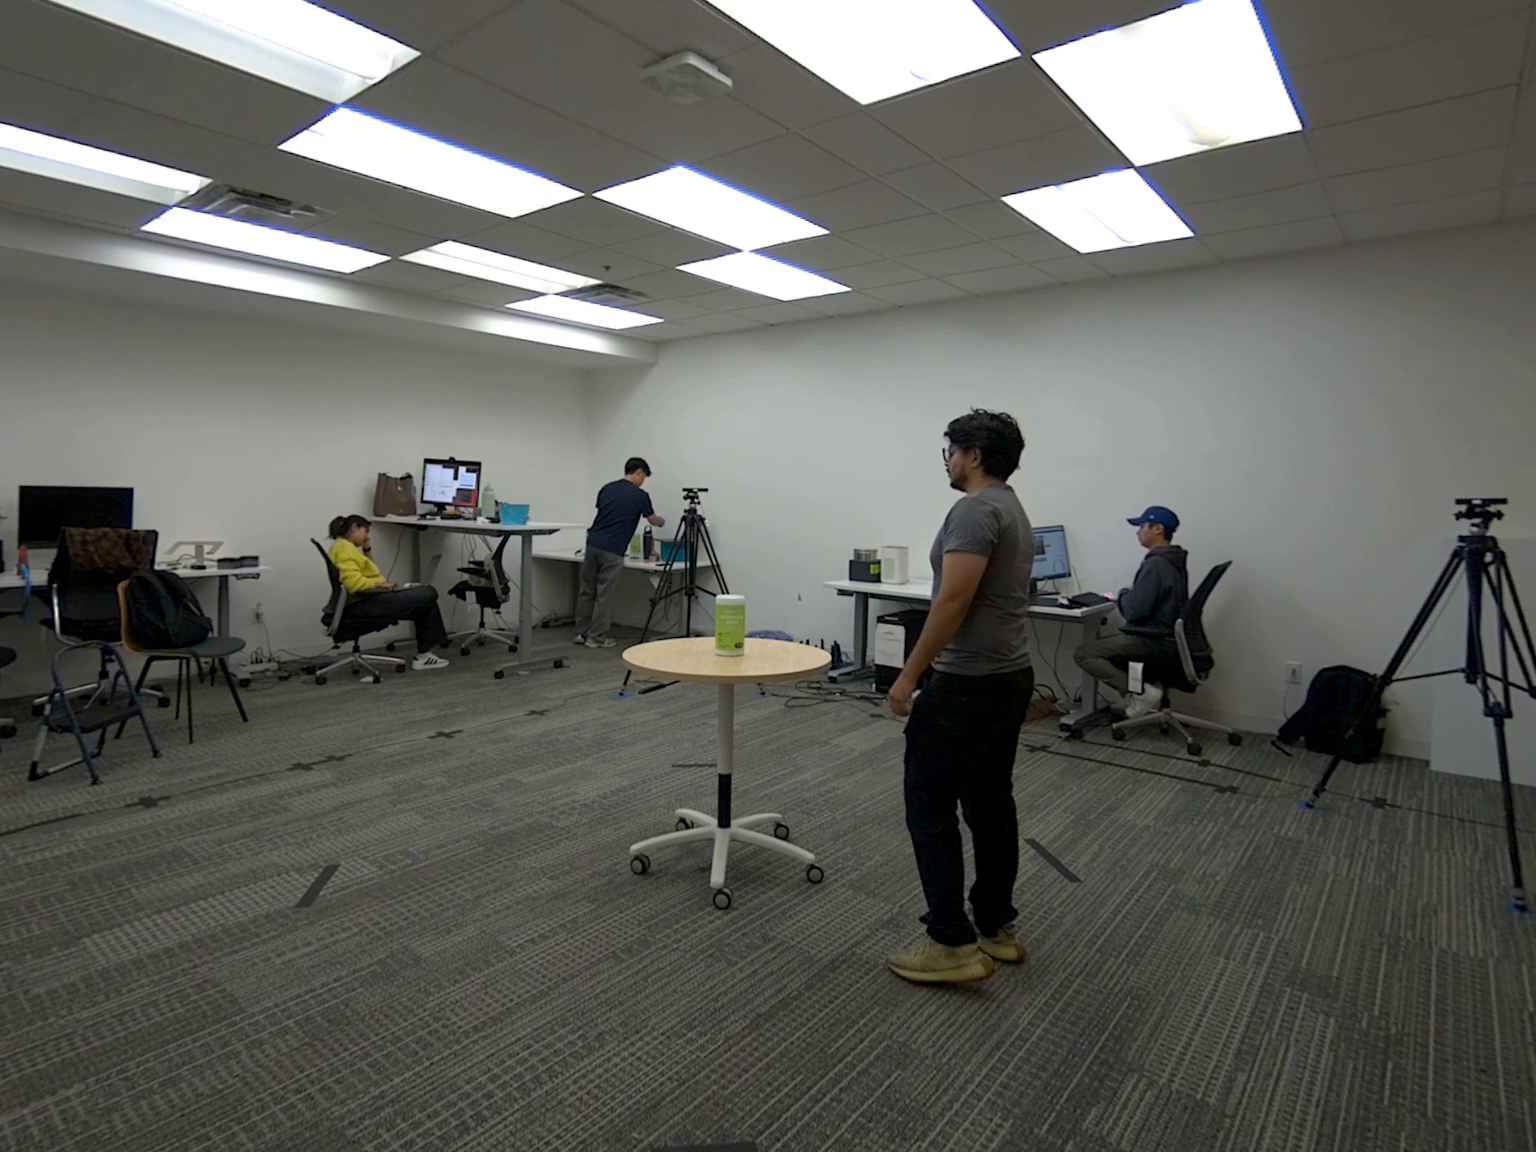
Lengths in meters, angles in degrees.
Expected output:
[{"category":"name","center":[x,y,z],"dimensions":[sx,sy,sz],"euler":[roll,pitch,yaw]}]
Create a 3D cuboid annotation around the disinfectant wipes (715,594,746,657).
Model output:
[{"category":"disinfectant wipes","center":[-0.153,0.180,3.129],"dimensions":[0.118,0.217,0.118],"euler":[1,3,-2]}]
